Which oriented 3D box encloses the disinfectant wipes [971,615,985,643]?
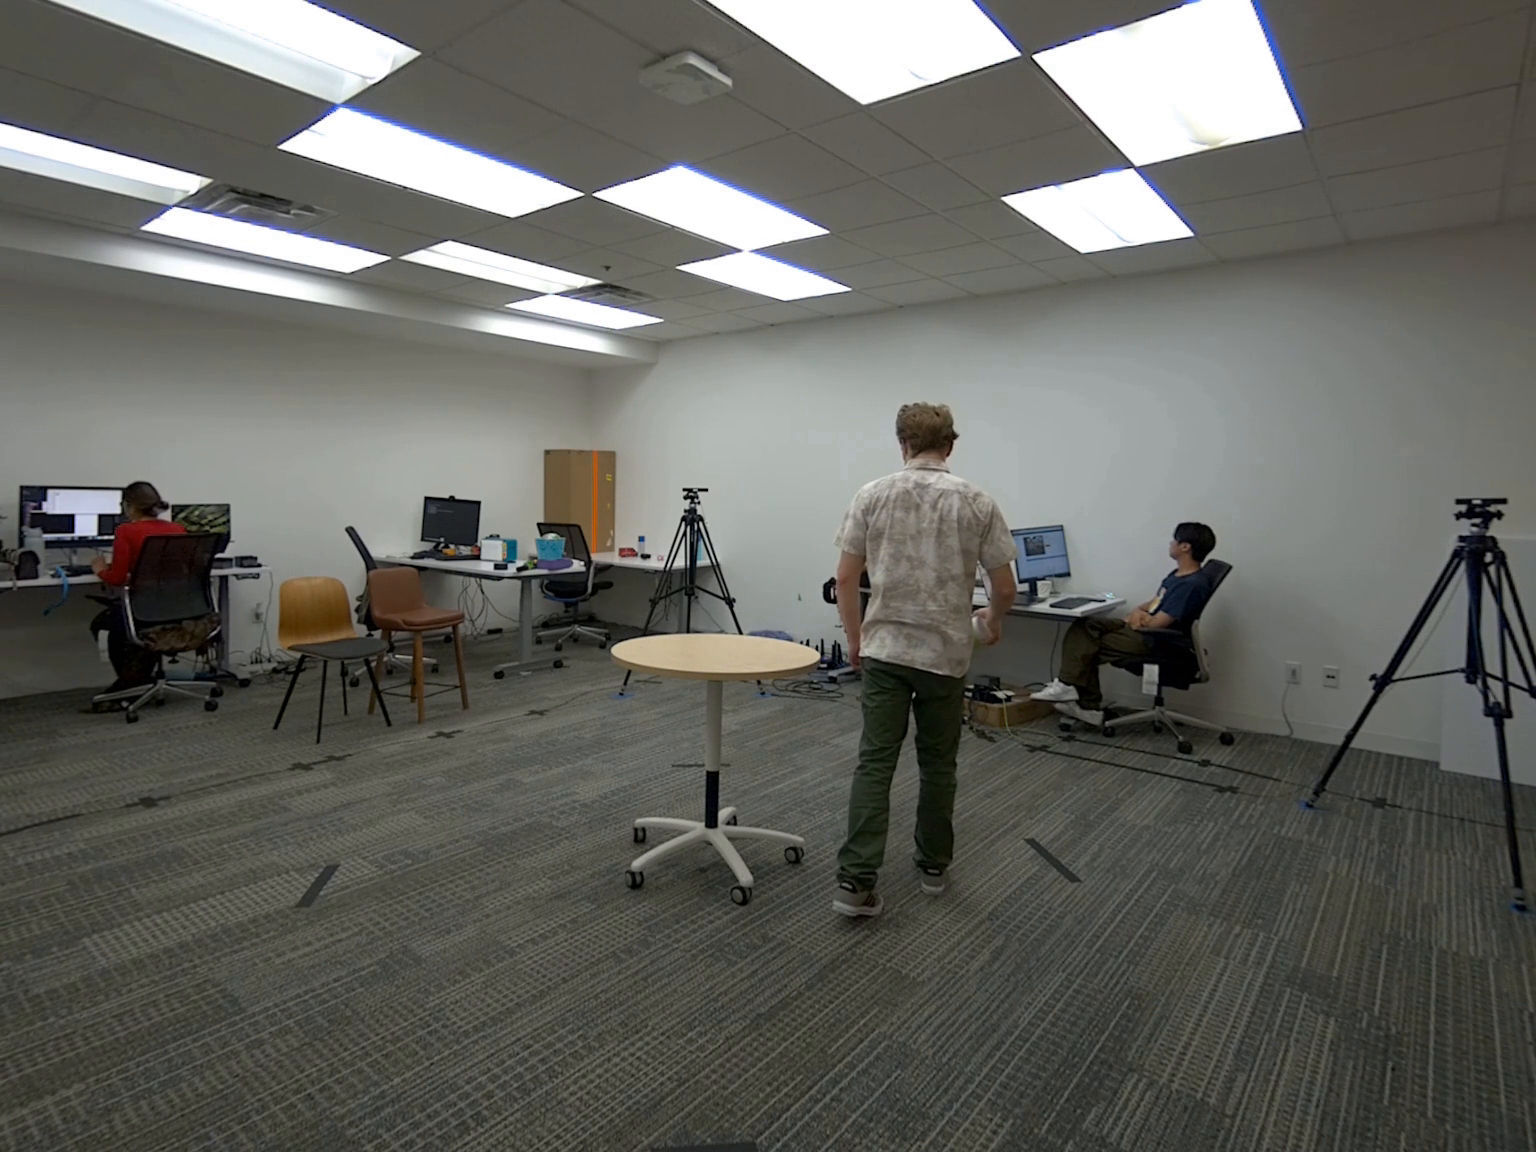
[{"bbox_3d":[0.729,0.234,3.195,0.114,0.121,0.219,-3,-27,-43],"label":"disinfectant wipes"}]
